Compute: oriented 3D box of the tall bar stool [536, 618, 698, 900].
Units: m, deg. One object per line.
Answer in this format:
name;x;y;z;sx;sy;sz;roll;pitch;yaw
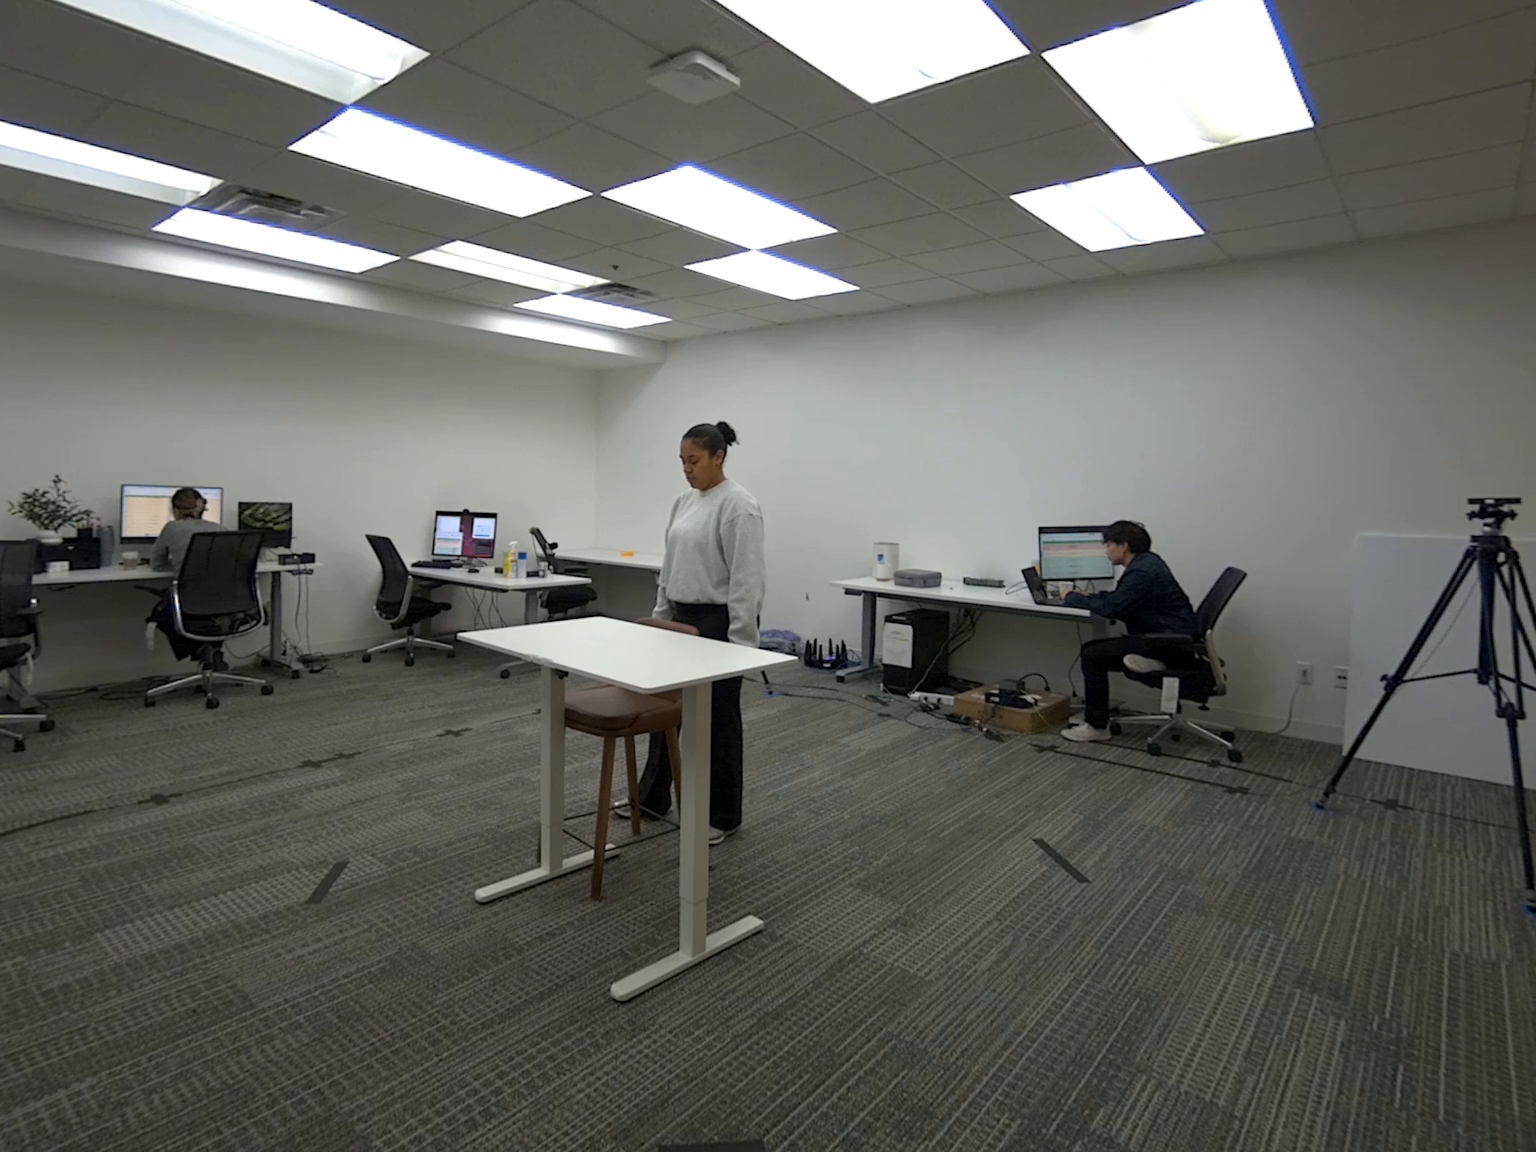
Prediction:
tall bar stool;-0.545;0.618;3.128;0.453;0.889;0.472;1;2;-41
